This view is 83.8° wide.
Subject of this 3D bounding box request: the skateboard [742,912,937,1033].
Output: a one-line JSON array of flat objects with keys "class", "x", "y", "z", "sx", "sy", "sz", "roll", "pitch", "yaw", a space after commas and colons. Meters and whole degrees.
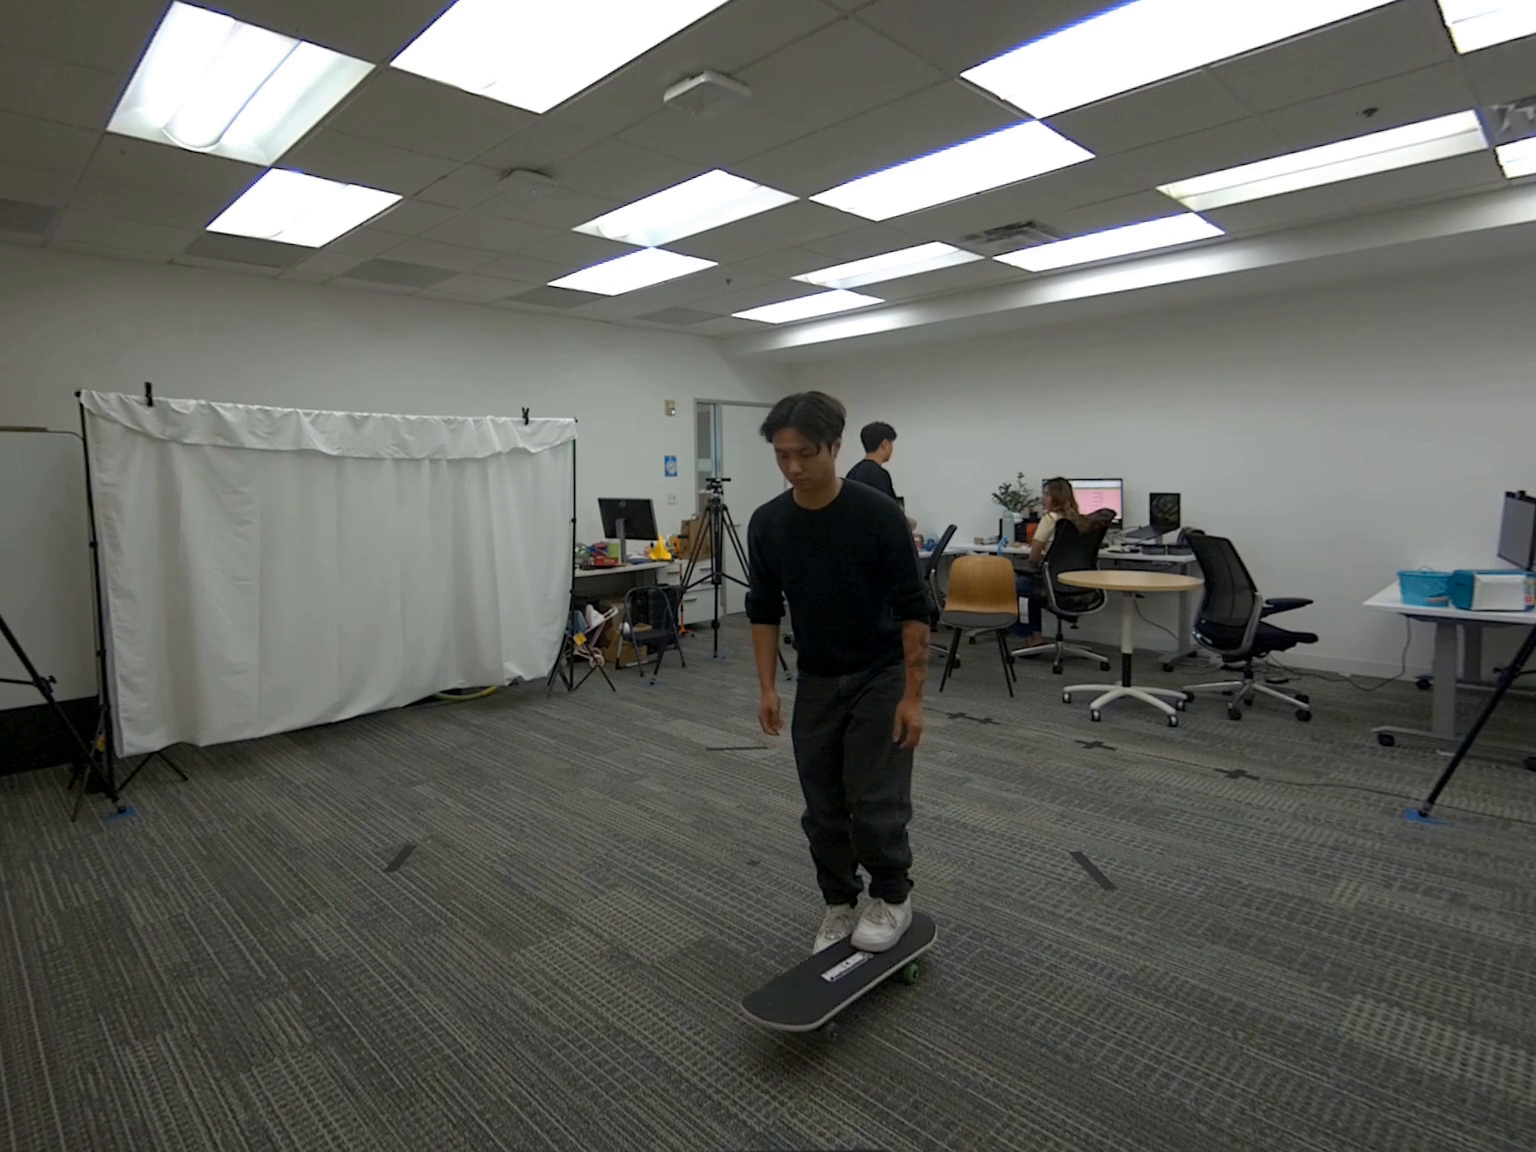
[{"class": "skateboard", "x": 0.226, "y": 1.072, "z": 2.259, "sx": 0.199, "sy": 0.110, "sz": 0.763, "roll": 3, "pitch": 3, "yaw": 39}]
